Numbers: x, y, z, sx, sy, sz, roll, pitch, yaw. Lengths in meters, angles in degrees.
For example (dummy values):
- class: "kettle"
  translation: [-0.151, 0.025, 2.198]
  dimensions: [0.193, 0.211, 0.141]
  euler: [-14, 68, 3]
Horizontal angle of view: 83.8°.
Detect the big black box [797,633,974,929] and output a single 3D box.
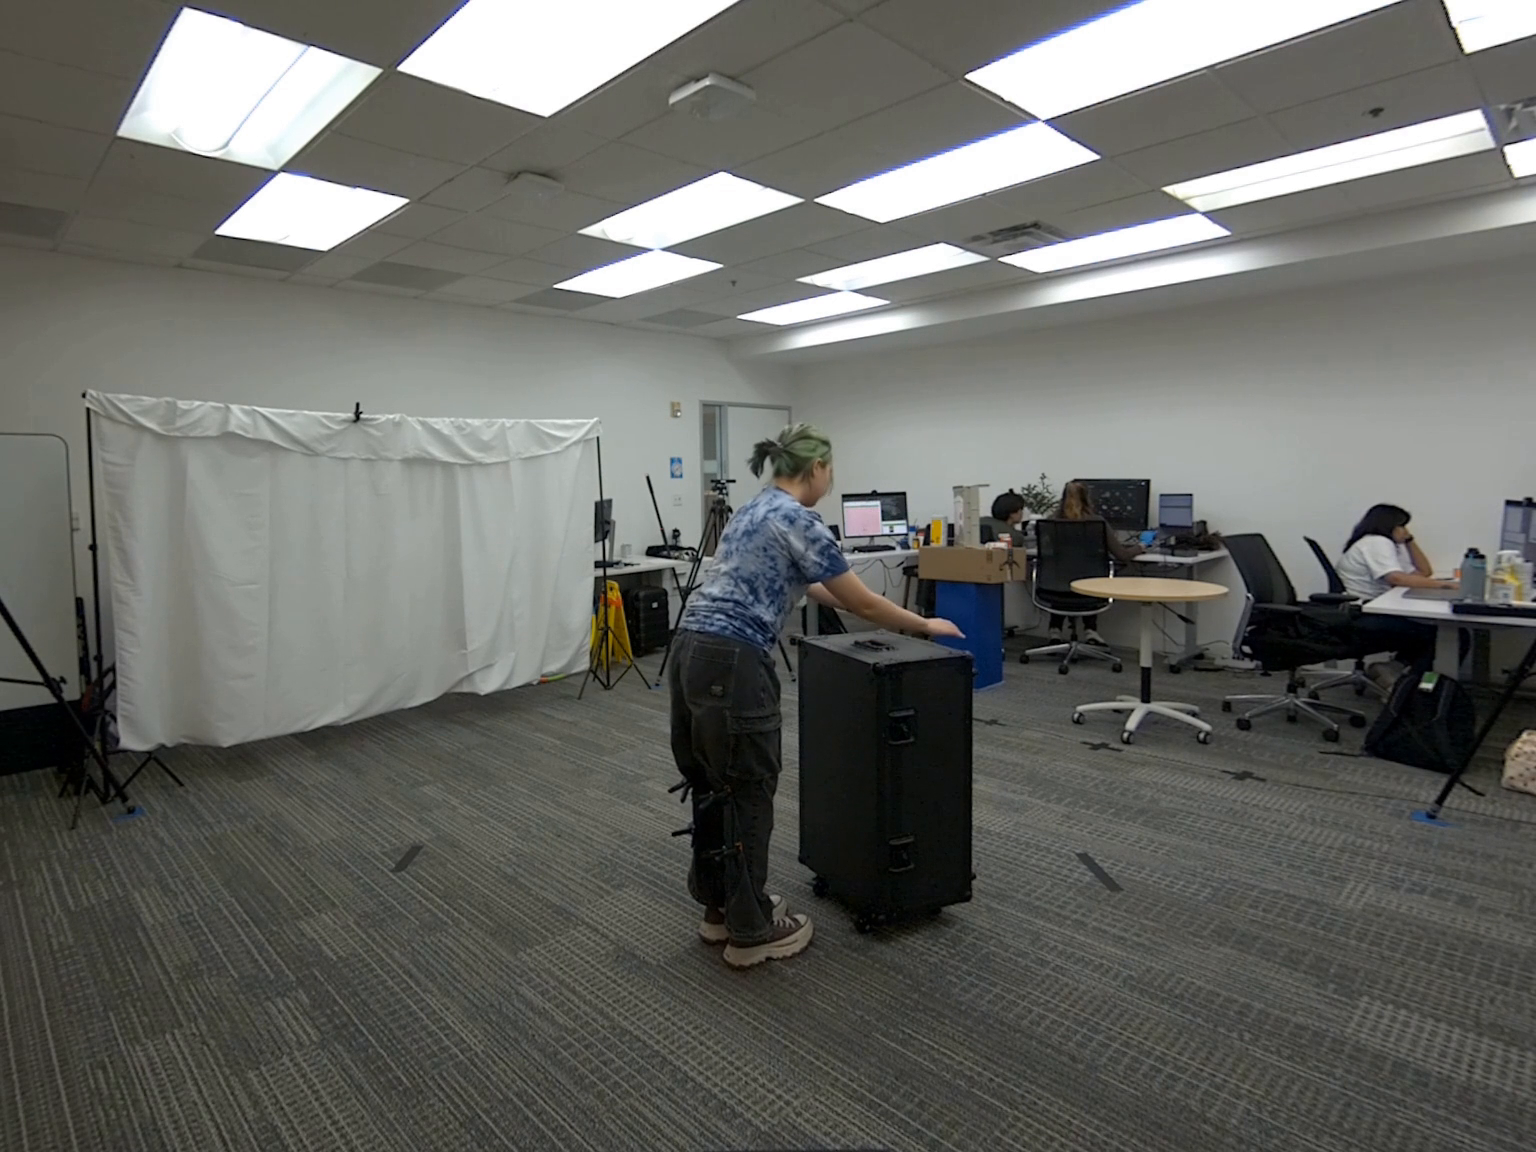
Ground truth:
- class: "big black box"
  translation: [0.378, 0.590, 2.794]
  dimensions: [0.388, 0.859, 0.534]
  euler: [-3, 4, -26]
